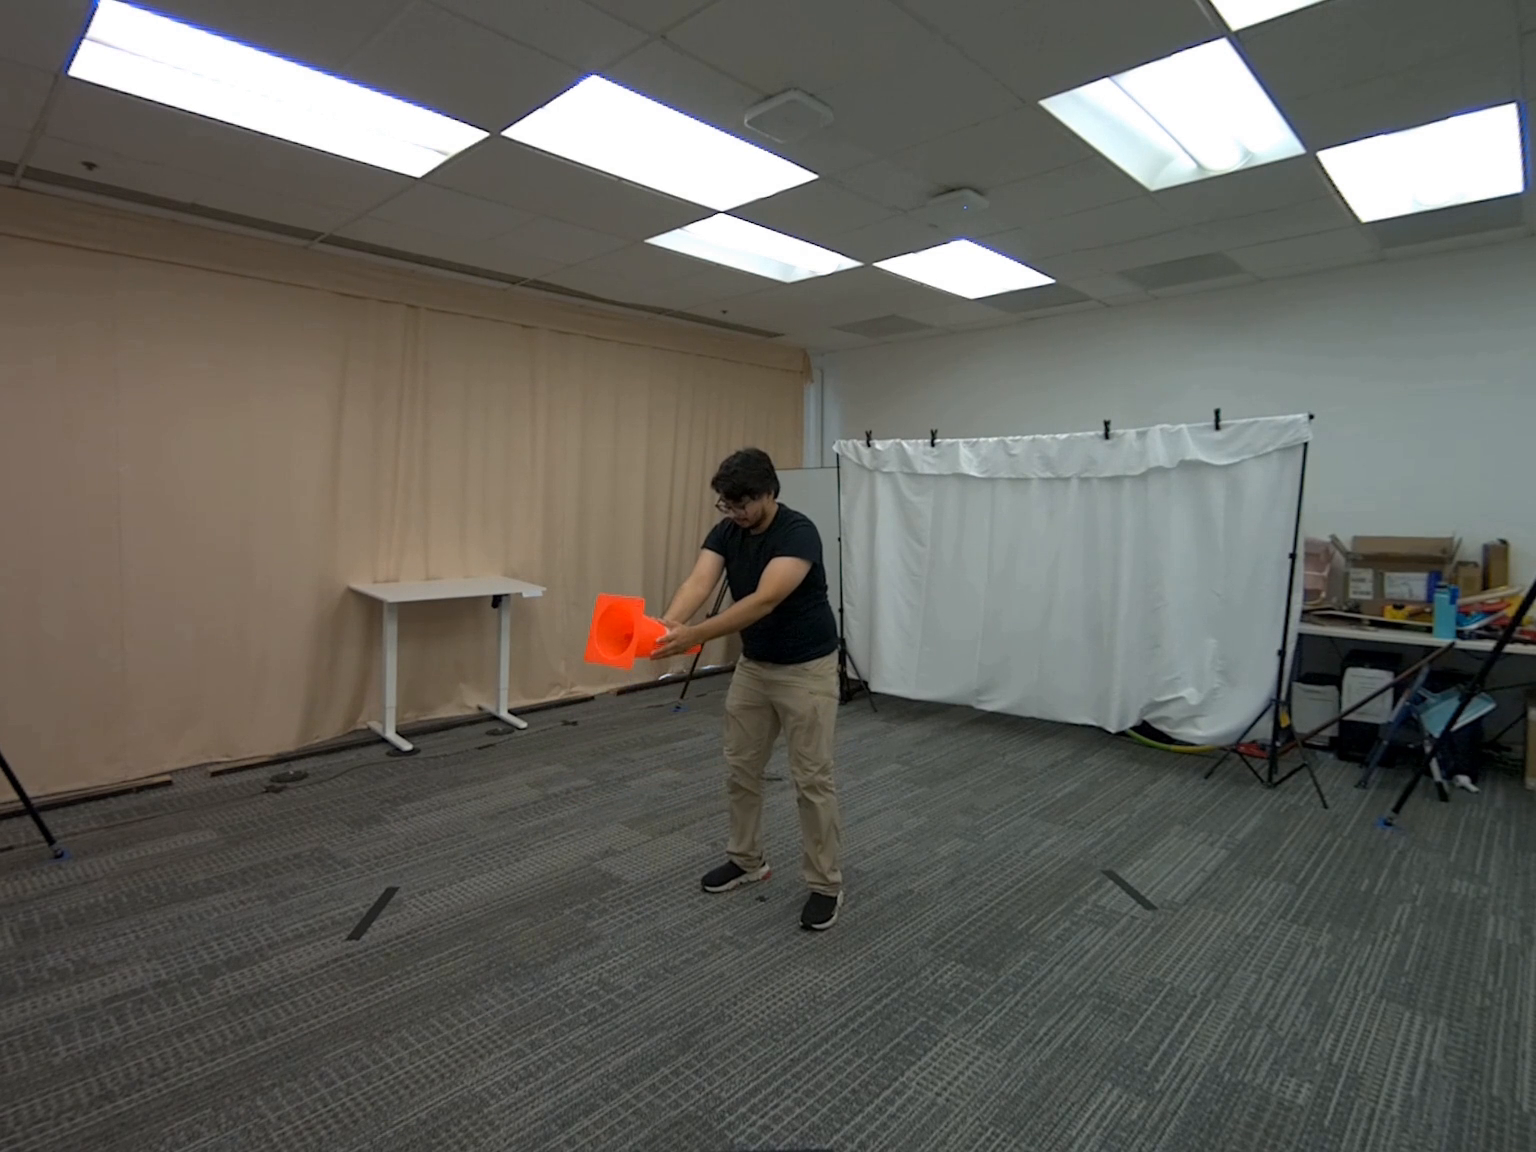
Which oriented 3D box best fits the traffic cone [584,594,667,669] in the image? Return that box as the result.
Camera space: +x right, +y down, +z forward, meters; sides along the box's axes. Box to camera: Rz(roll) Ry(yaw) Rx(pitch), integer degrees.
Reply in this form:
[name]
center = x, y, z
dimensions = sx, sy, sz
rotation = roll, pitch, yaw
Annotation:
[traffic cone]
center = -0.330, 0.203, 2.523
dimensions = 0.212, 0.204, 0.370
rotation = 3, -8, 38
